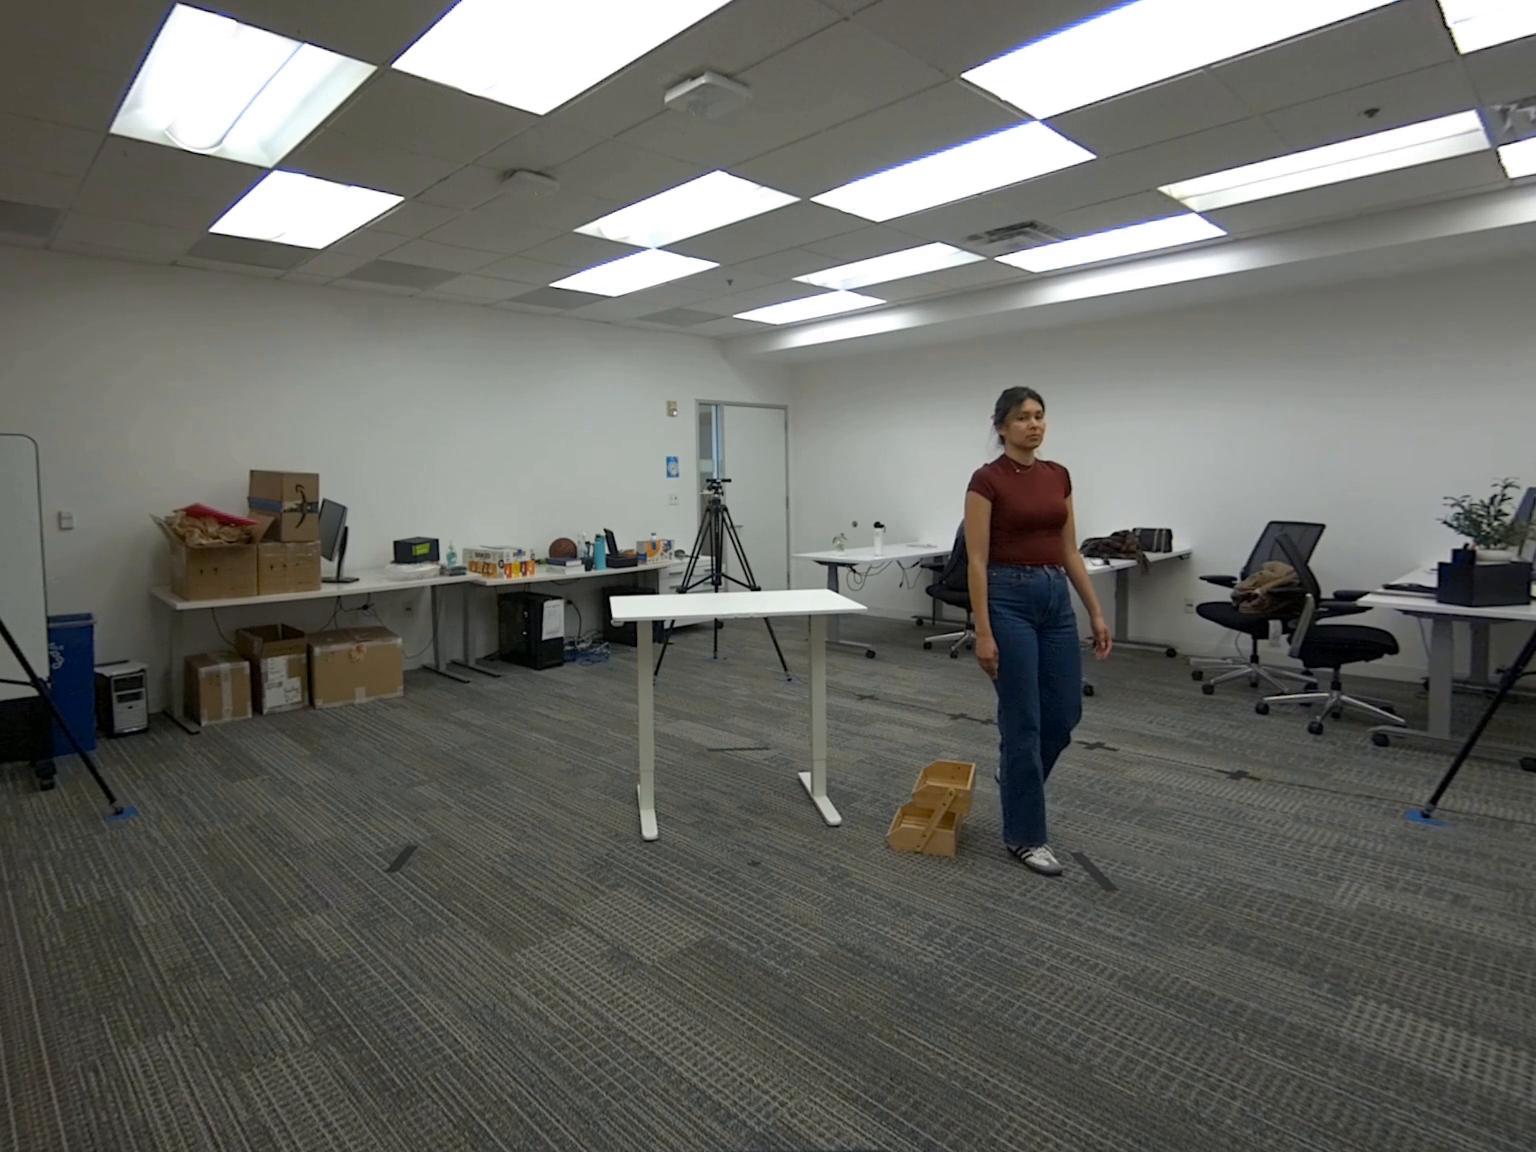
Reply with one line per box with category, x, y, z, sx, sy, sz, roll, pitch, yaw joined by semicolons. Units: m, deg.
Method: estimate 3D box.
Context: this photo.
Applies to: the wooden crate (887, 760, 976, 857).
wooden crate;0.635;0.879;3.294;0.308;0.272;0.319;1;5;19
